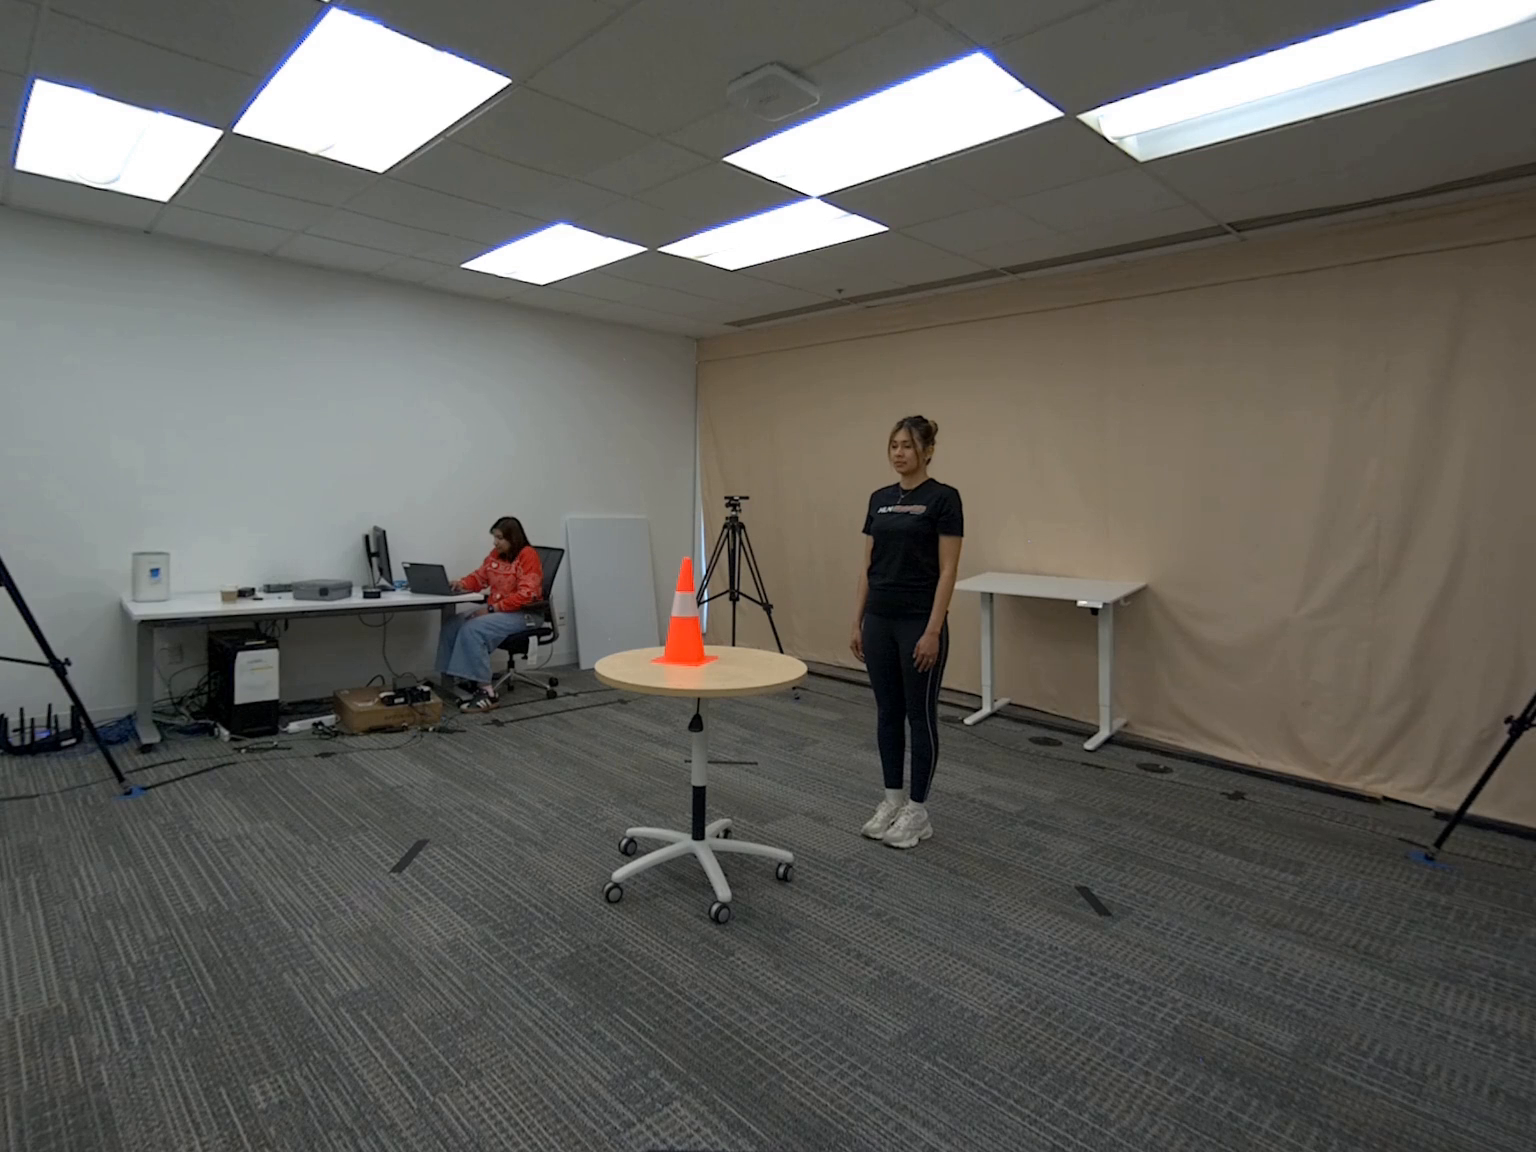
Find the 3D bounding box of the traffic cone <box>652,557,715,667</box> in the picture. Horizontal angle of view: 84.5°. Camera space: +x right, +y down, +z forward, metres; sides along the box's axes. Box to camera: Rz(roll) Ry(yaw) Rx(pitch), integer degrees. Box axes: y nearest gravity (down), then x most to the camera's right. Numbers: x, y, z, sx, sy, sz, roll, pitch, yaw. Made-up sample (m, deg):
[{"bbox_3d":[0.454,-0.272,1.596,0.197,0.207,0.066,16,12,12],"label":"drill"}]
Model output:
[{"bbox_3d":[-0.305,0.127,3.117,0.209,0.382,0.200,6,6,27],"label":"traffic cone"}]
